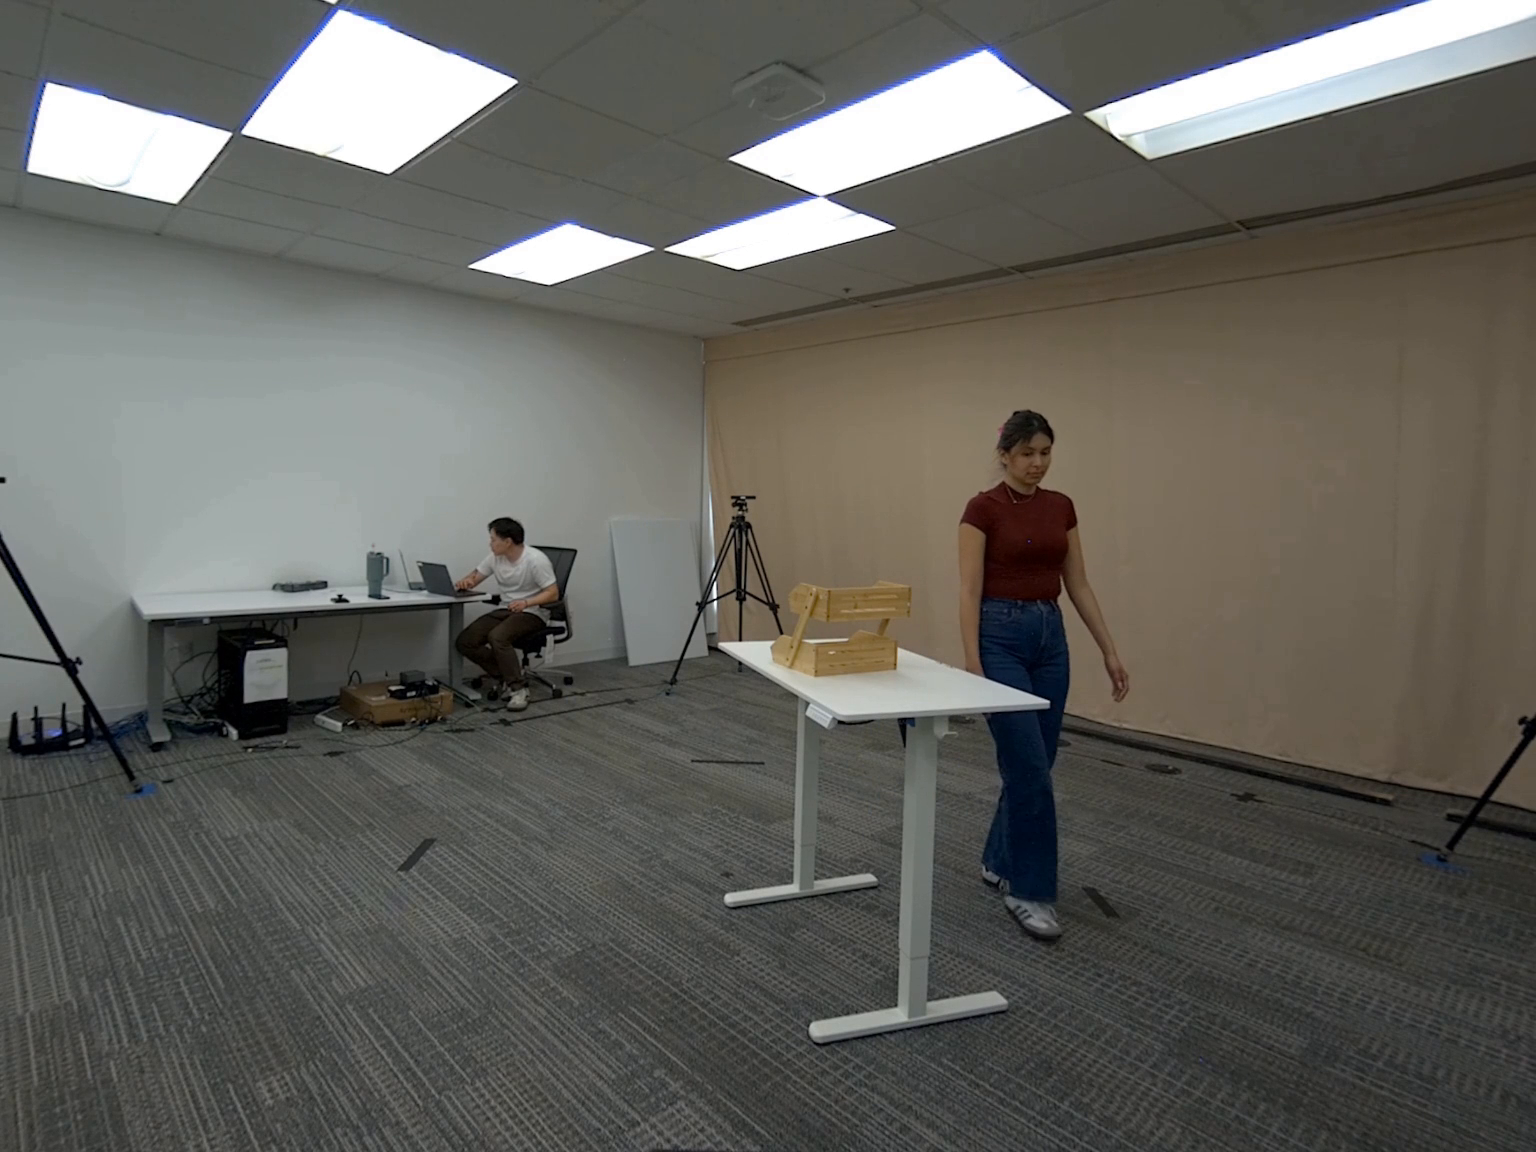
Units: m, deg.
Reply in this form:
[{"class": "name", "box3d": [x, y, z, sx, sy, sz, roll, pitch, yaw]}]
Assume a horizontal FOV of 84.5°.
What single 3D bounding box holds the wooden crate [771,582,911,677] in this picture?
[{"class": "wooden crate", "box3d": [0.214, 0.147, 2.559, 0.318, 0.272, 0.309, -1, 6, -30]}]
